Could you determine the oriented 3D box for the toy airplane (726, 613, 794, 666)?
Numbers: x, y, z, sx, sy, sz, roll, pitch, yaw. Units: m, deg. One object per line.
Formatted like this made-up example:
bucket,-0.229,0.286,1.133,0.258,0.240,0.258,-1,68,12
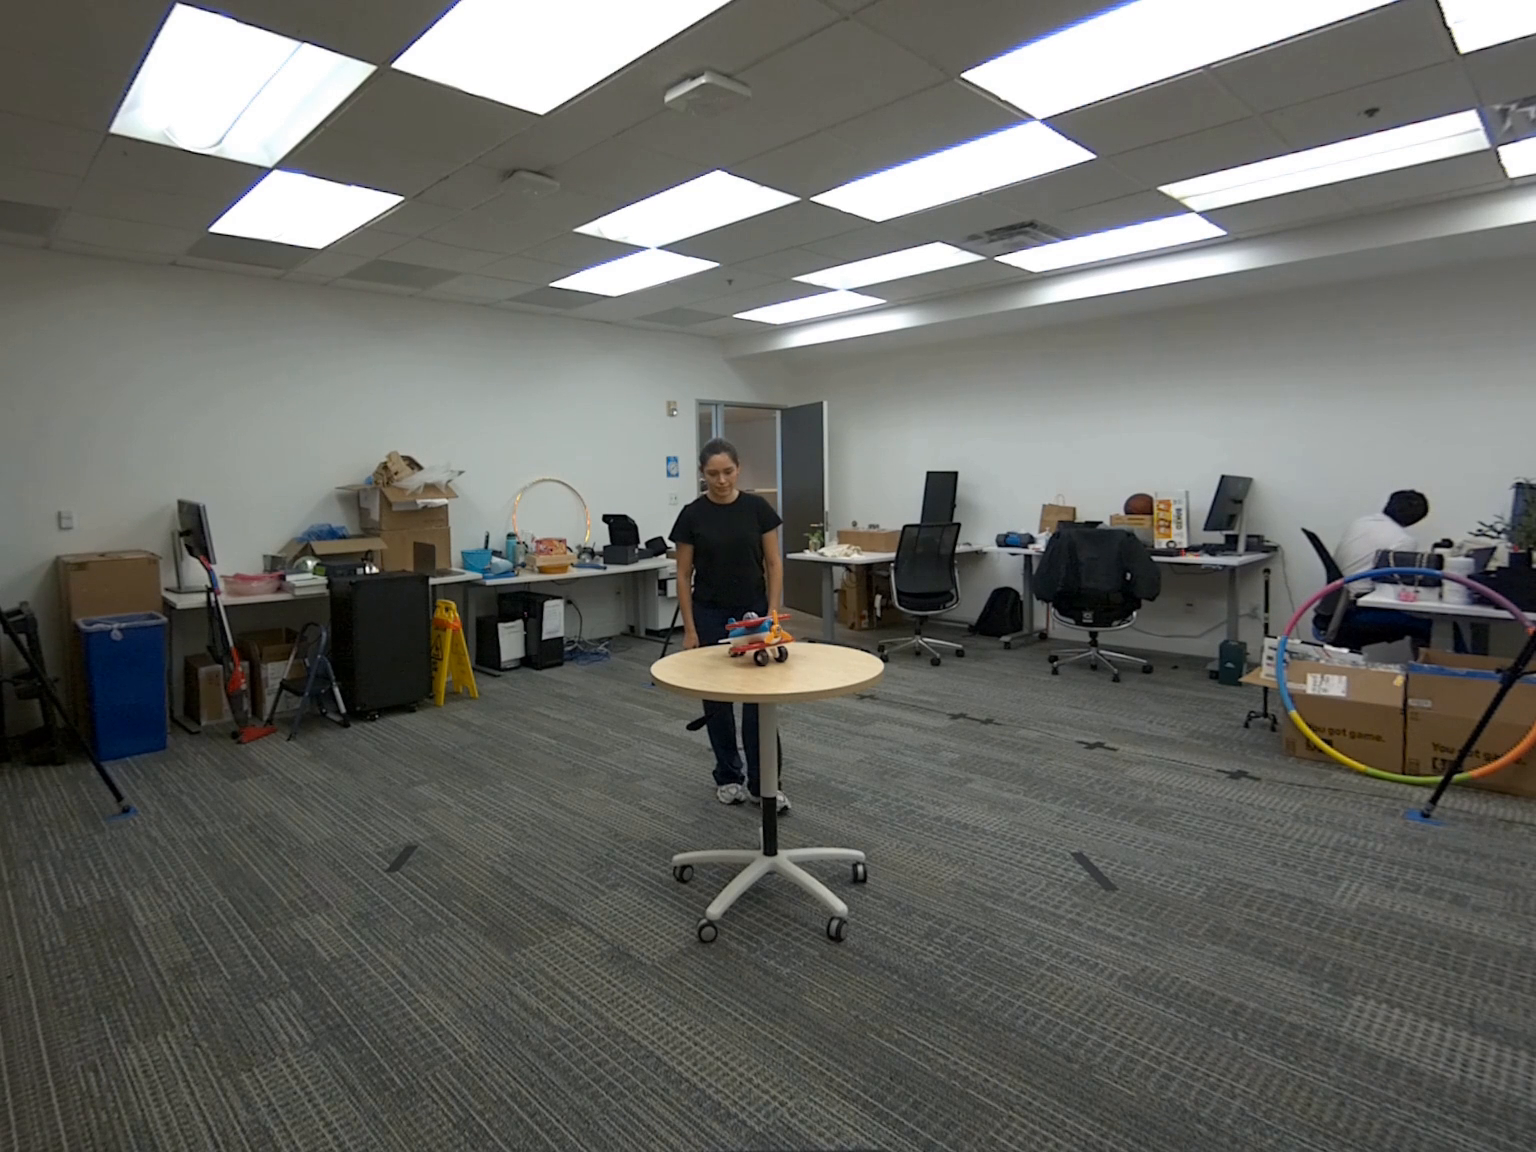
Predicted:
toy airplane,-0.062,0.212,2.898,0.265,0.156,0.247,2,7,22
